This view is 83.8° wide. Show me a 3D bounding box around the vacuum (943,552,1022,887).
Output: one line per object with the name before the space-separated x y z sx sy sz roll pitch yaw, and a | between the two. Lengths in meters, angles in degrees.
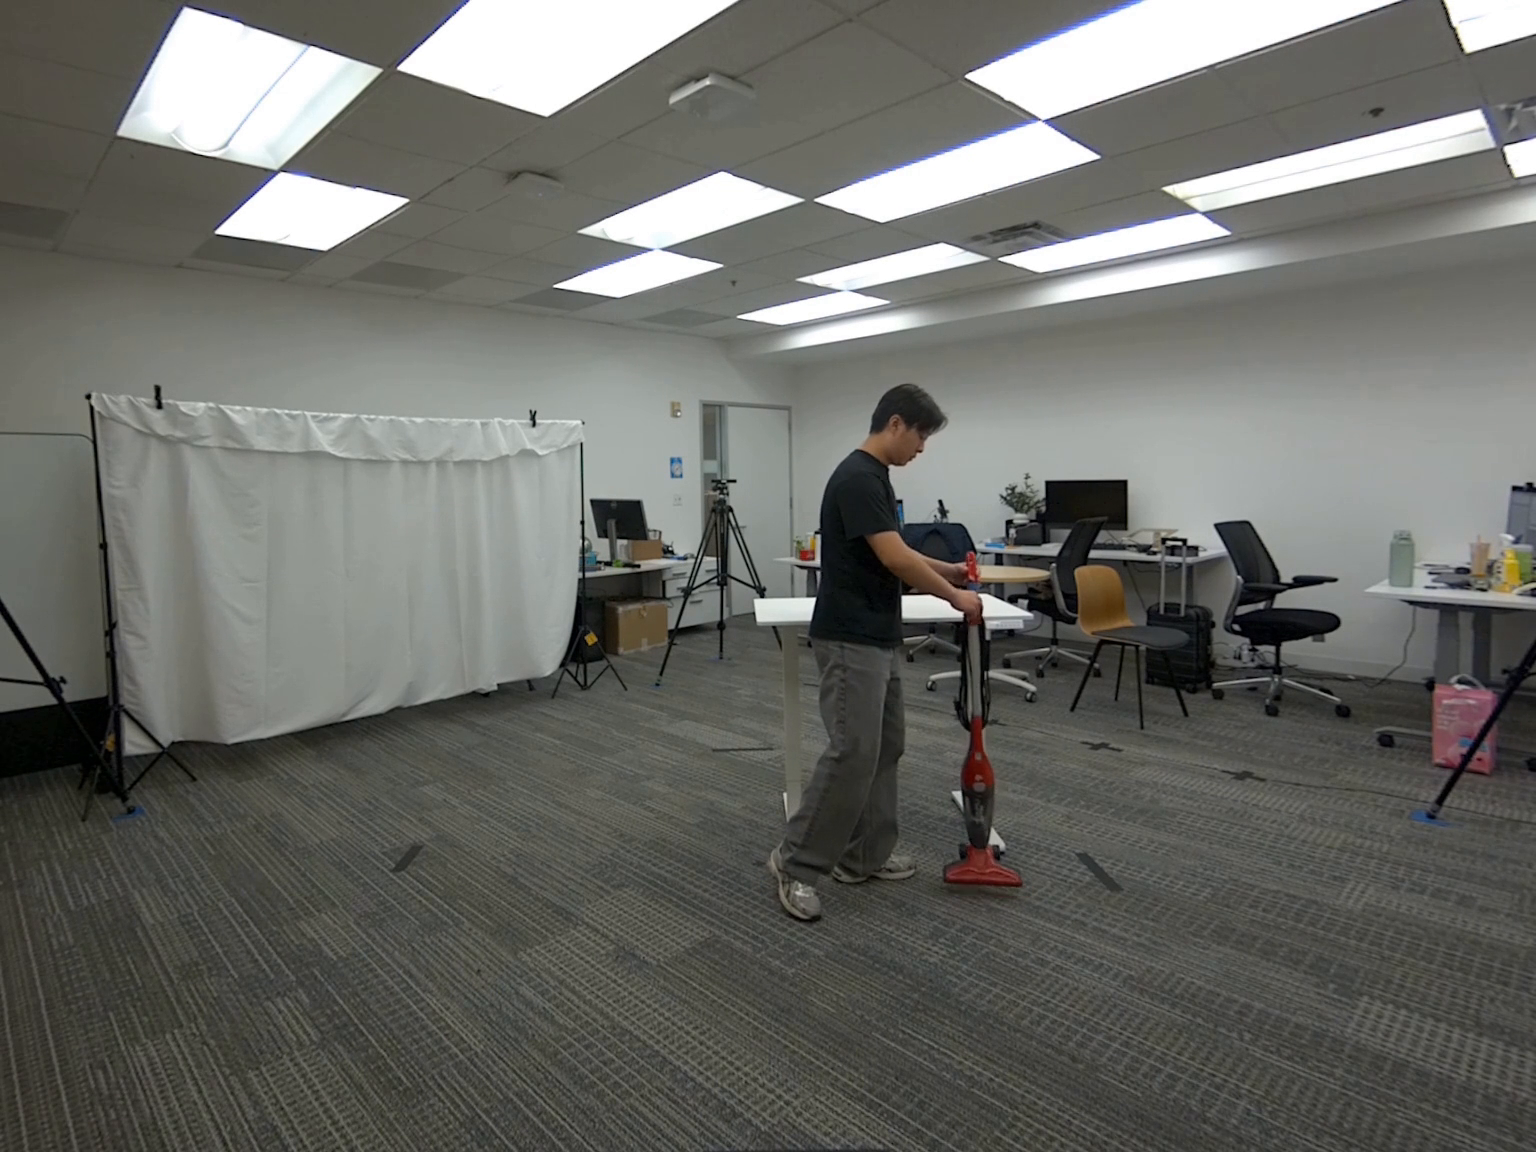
vacuum | 0.698 0.459 2.877 0.256 1.050 0.142 -2 -1 15
